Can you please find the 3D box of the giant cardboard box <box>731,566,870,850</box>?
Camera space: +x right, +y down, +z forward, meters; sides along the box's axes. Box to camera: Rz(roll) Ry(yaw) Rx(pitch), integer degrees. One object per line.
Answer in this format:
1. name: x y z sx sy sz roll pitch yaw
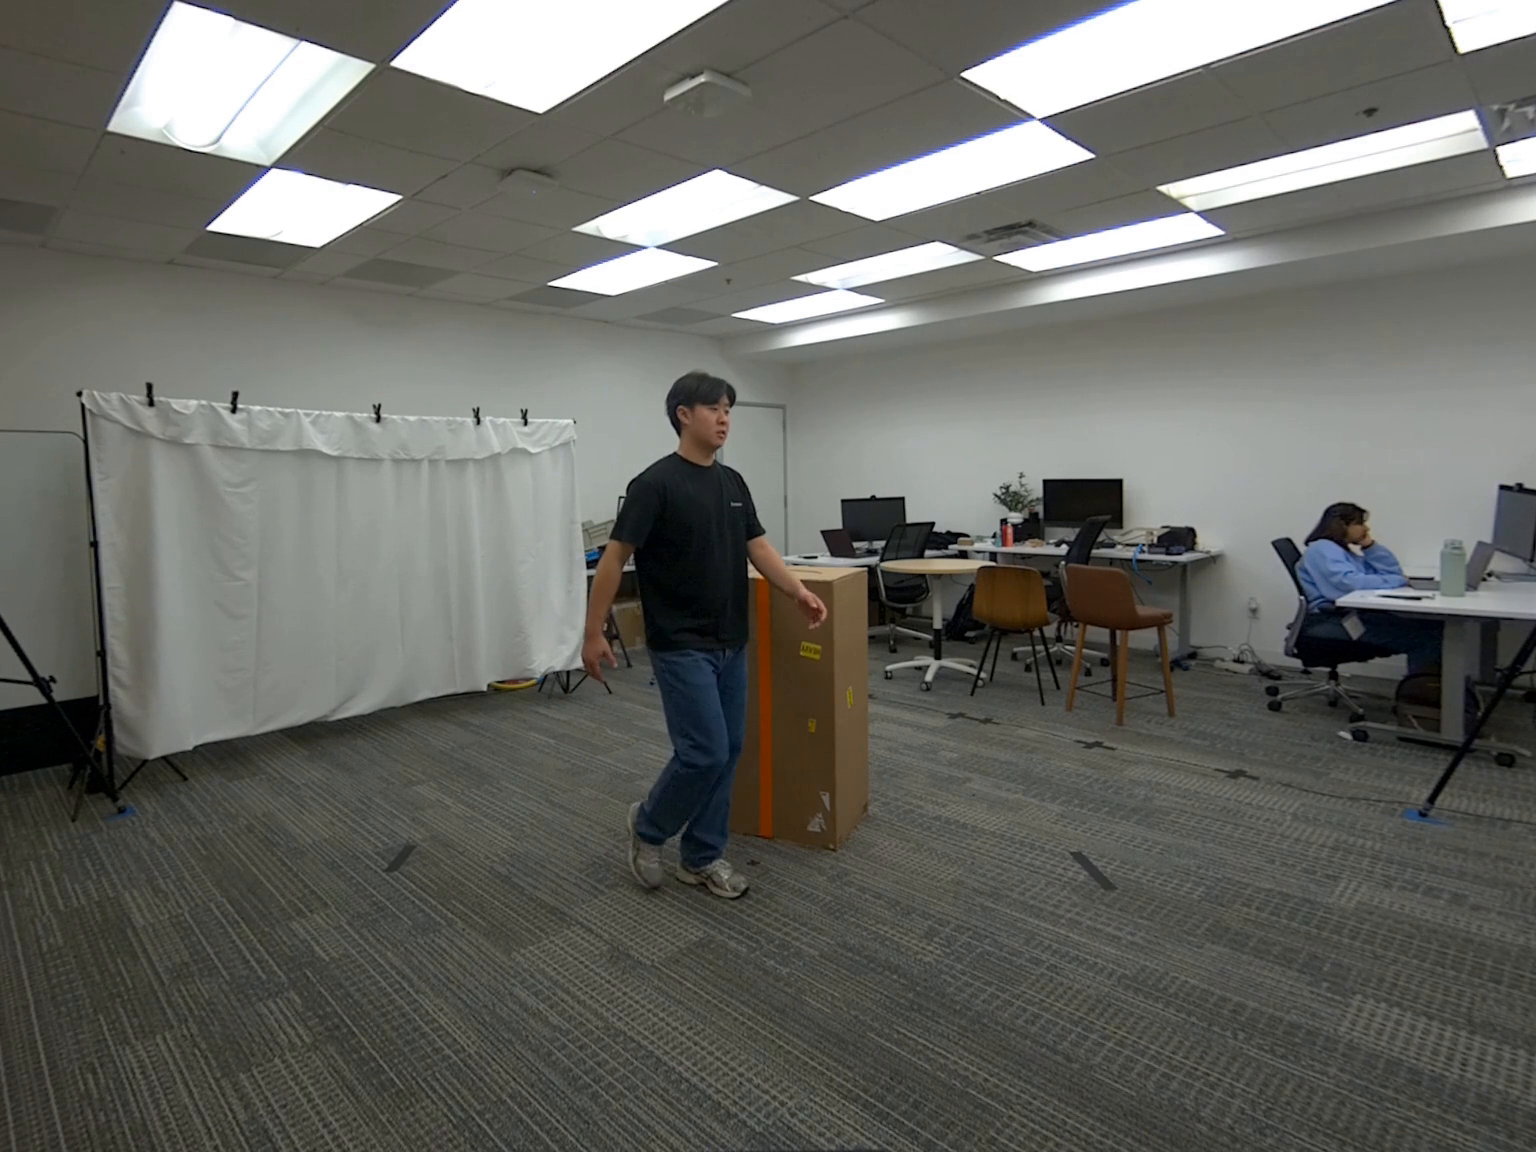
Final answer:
1. giant cardboard box: 0.073 0.485 3.474 0.598 1.022 0.438 1 6 27
